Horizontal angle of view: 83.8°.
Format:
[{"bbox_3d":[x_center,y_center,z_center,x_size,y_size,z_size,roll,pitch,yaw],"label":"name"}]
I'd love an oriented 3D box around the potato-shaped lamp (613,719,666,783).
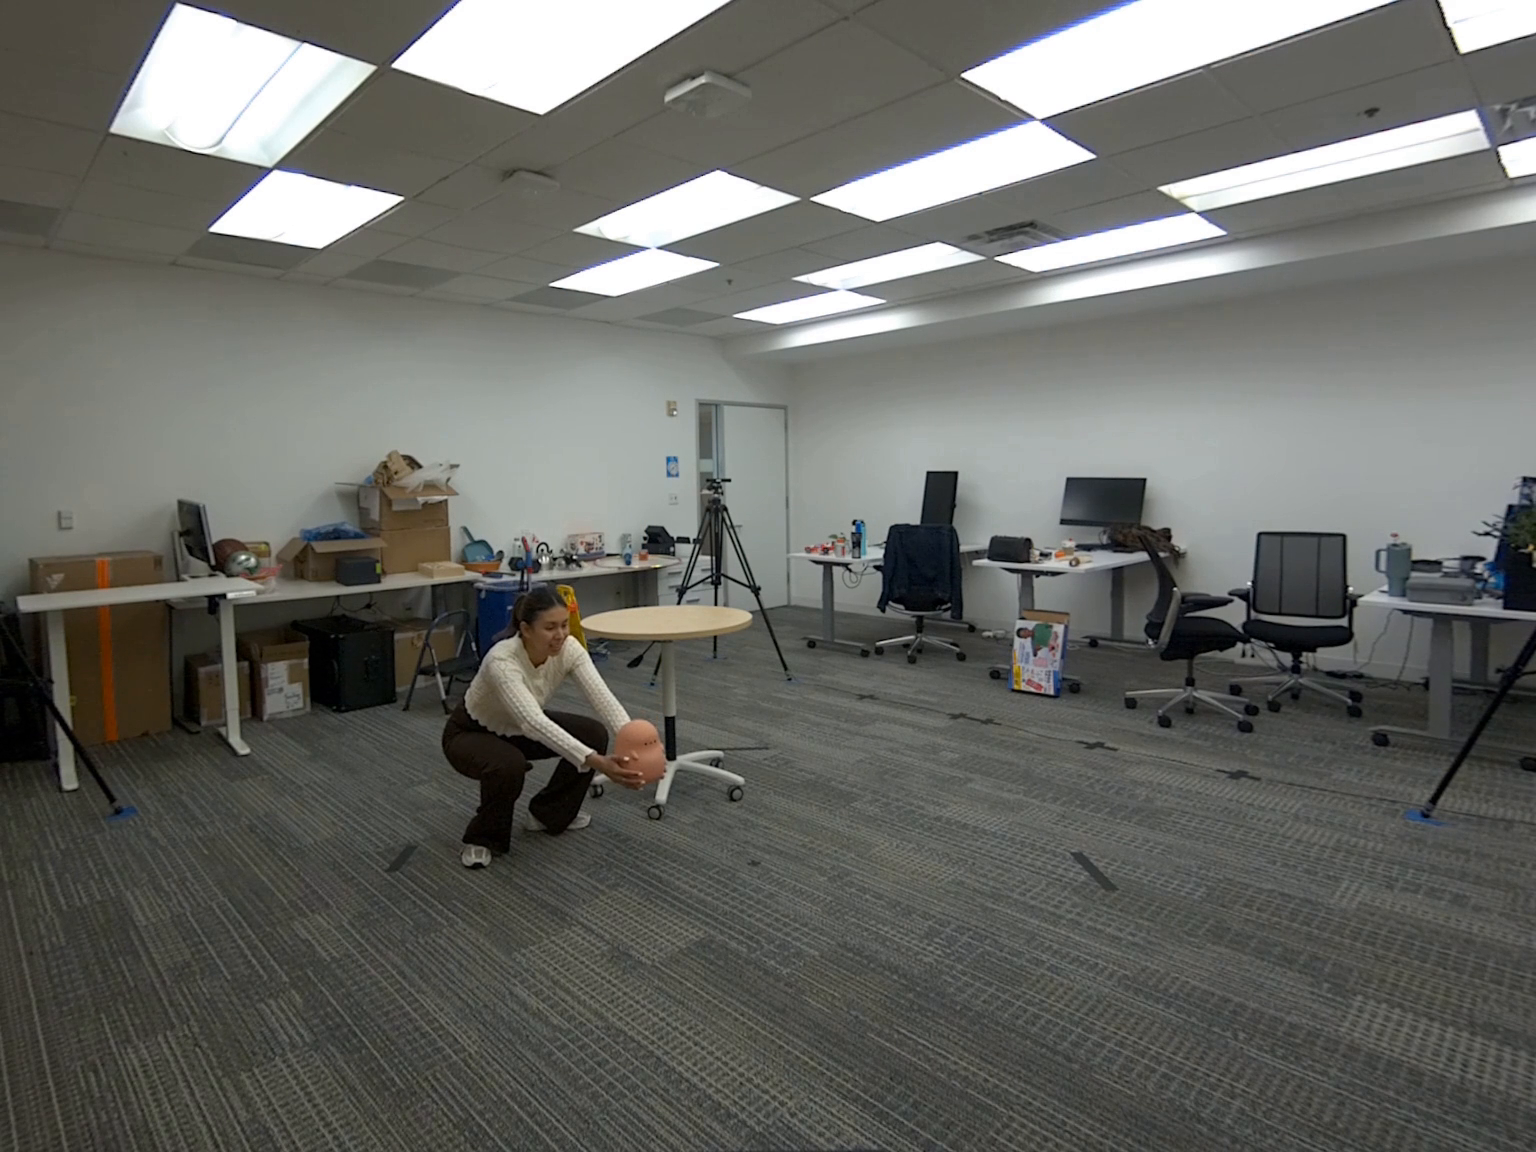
[{"bbox_3d":[-0.425,0.574,2.822,0.160,0.197,0.178,0,13,-44],"label":"potato-shaped lamp"}]
